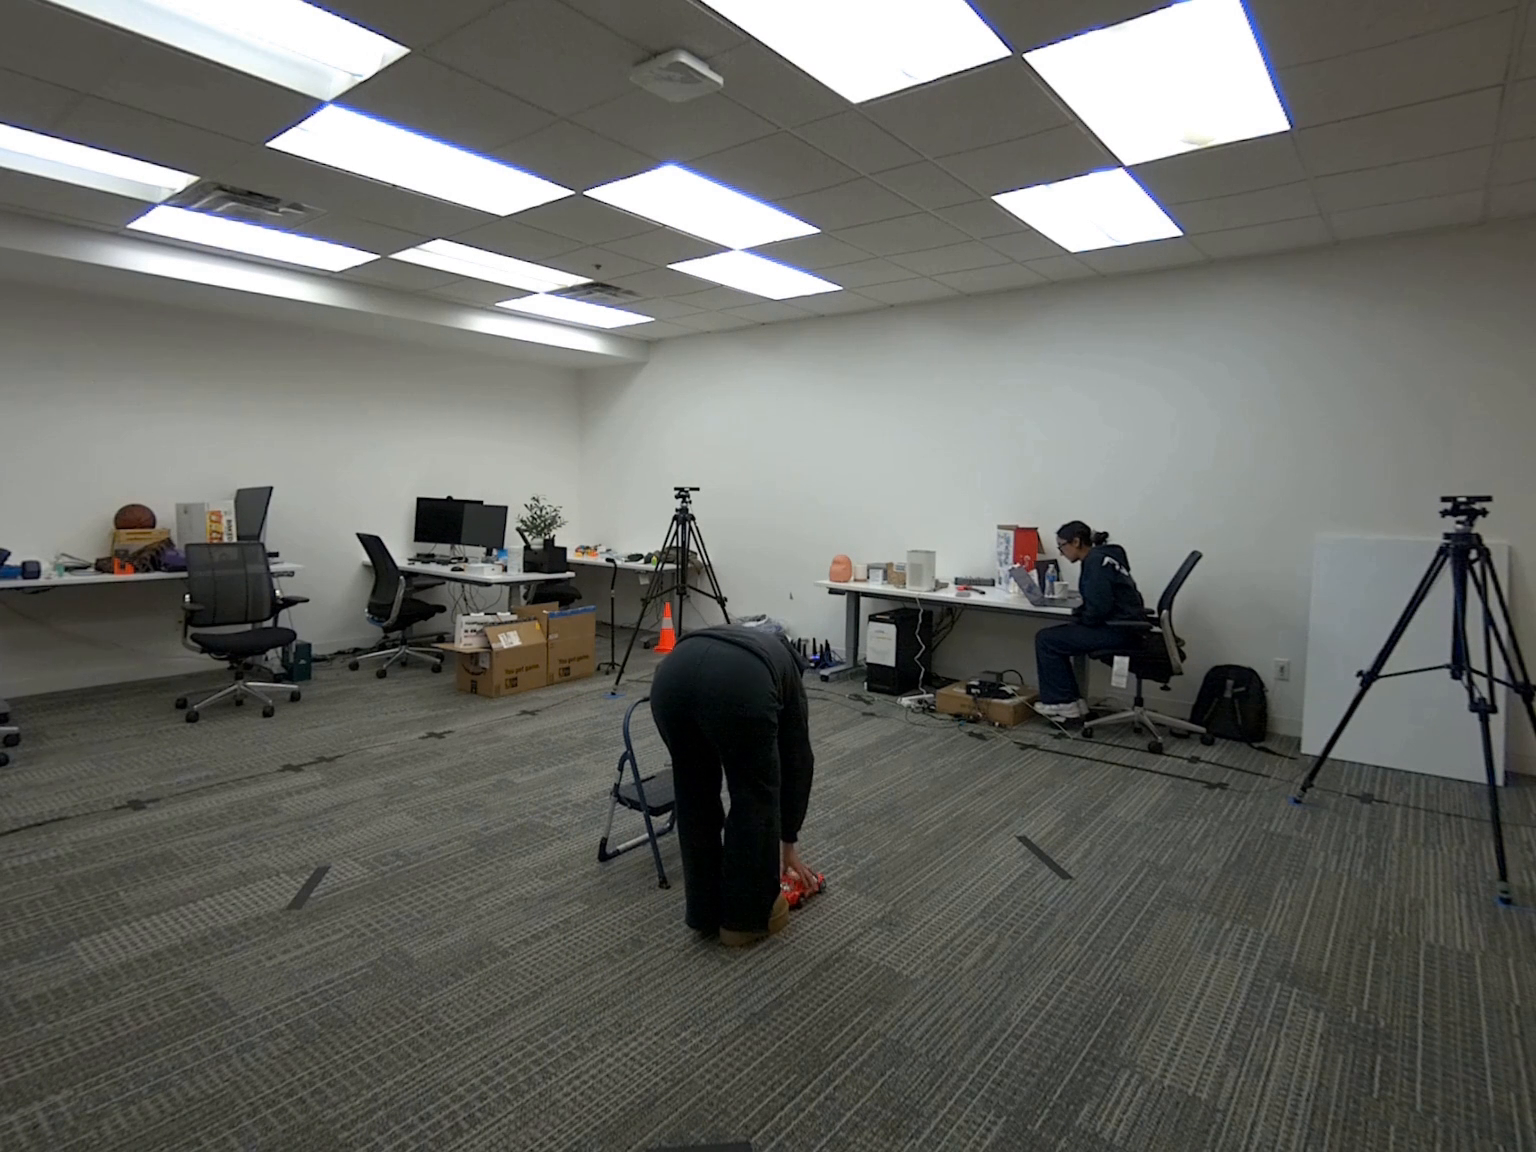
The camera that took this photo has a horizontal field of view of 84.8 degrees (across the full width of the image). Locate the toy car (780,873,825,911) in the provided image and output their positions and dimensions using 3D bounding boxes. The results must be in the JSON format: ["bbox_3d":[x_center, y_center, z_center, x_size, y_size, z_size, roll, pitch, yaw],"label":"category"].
[{"bbox_3d":[0.094,1.061,2.899,0.134,0.083,0.245,6,-4,35],"label":"toy car"}]
